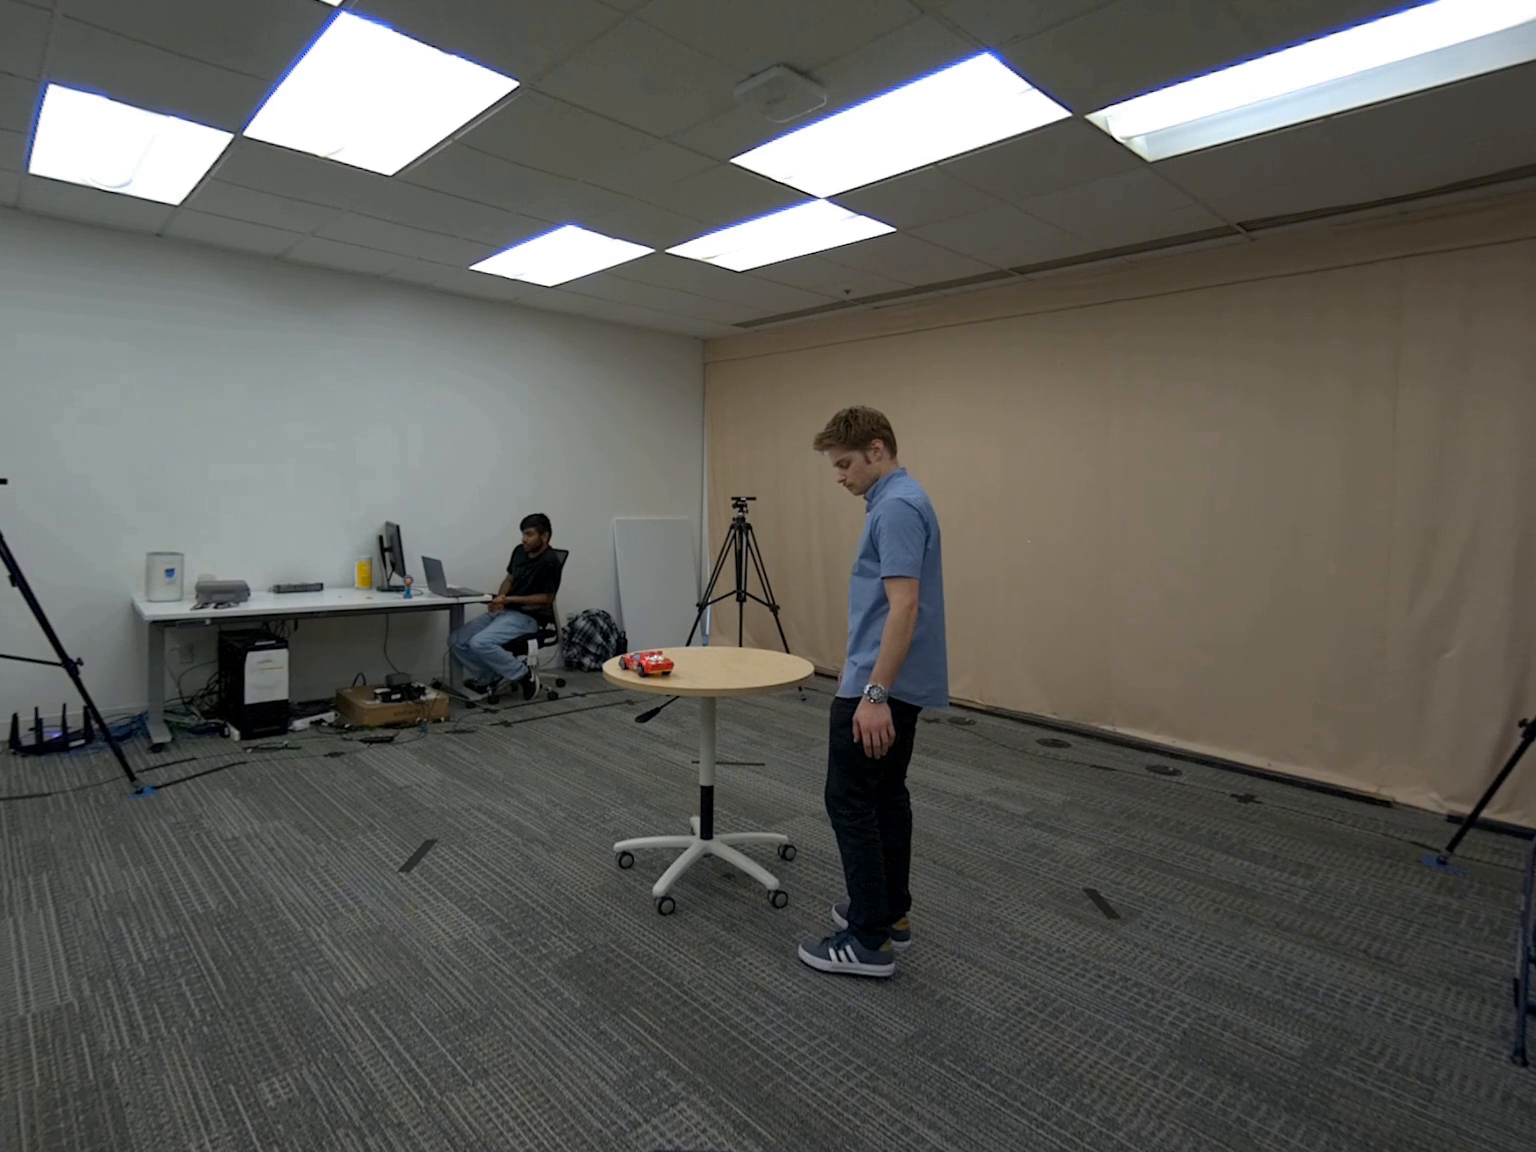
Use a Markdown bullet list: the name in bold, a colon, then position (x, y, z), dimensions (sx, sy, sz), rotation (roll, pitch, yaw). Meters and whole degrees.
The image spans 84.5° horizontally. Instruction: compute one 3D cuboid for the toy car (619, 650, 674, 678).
- **toy car**: position (-0.414, 0.304, 2.910), dimensions (0.127, 0.083, 0.259), rotation (-3, -5, -33)
